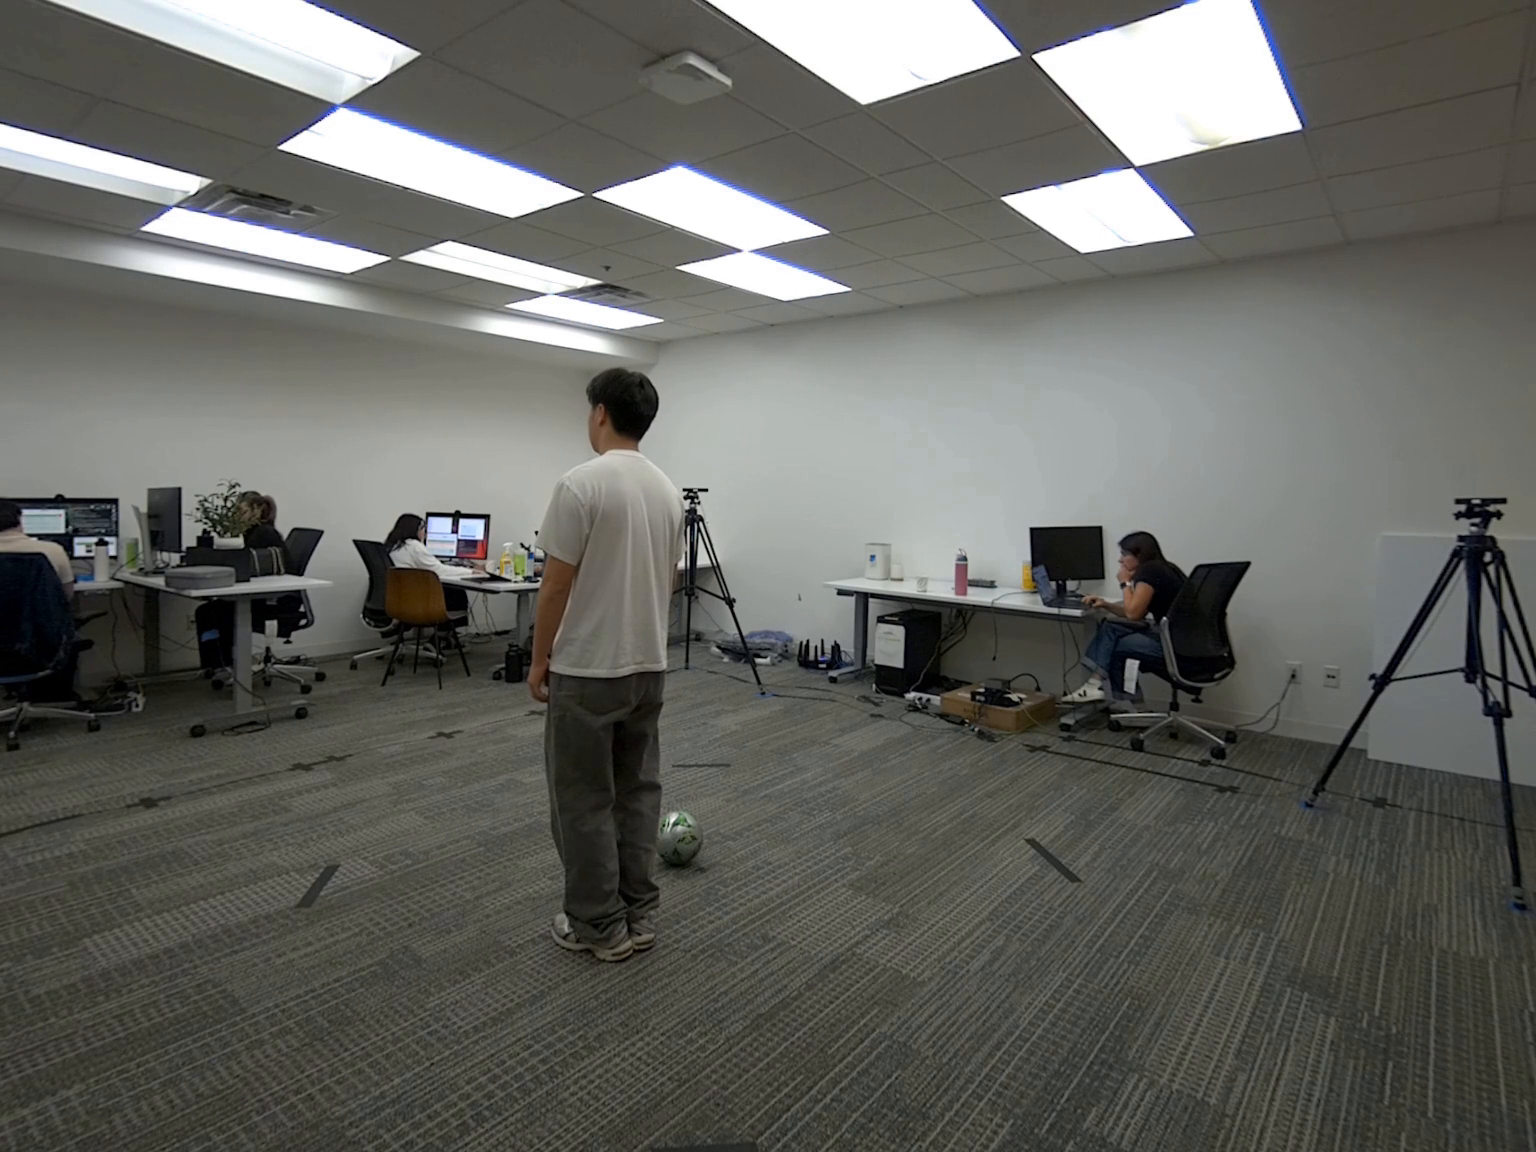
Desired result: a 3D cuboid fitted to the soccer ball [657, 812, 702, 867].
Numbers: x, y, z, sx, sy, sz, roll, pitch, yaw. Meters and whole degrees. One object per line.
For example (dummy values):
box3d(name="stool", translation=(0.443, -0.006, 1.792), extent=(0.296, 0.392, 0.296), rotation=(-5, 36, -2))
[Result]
box3d(name="soccer ball", translation=(-0.331, 0.963, 3.166), extent=(0.187, 0.187, 0.188), rotation=(1, 4, -2))
